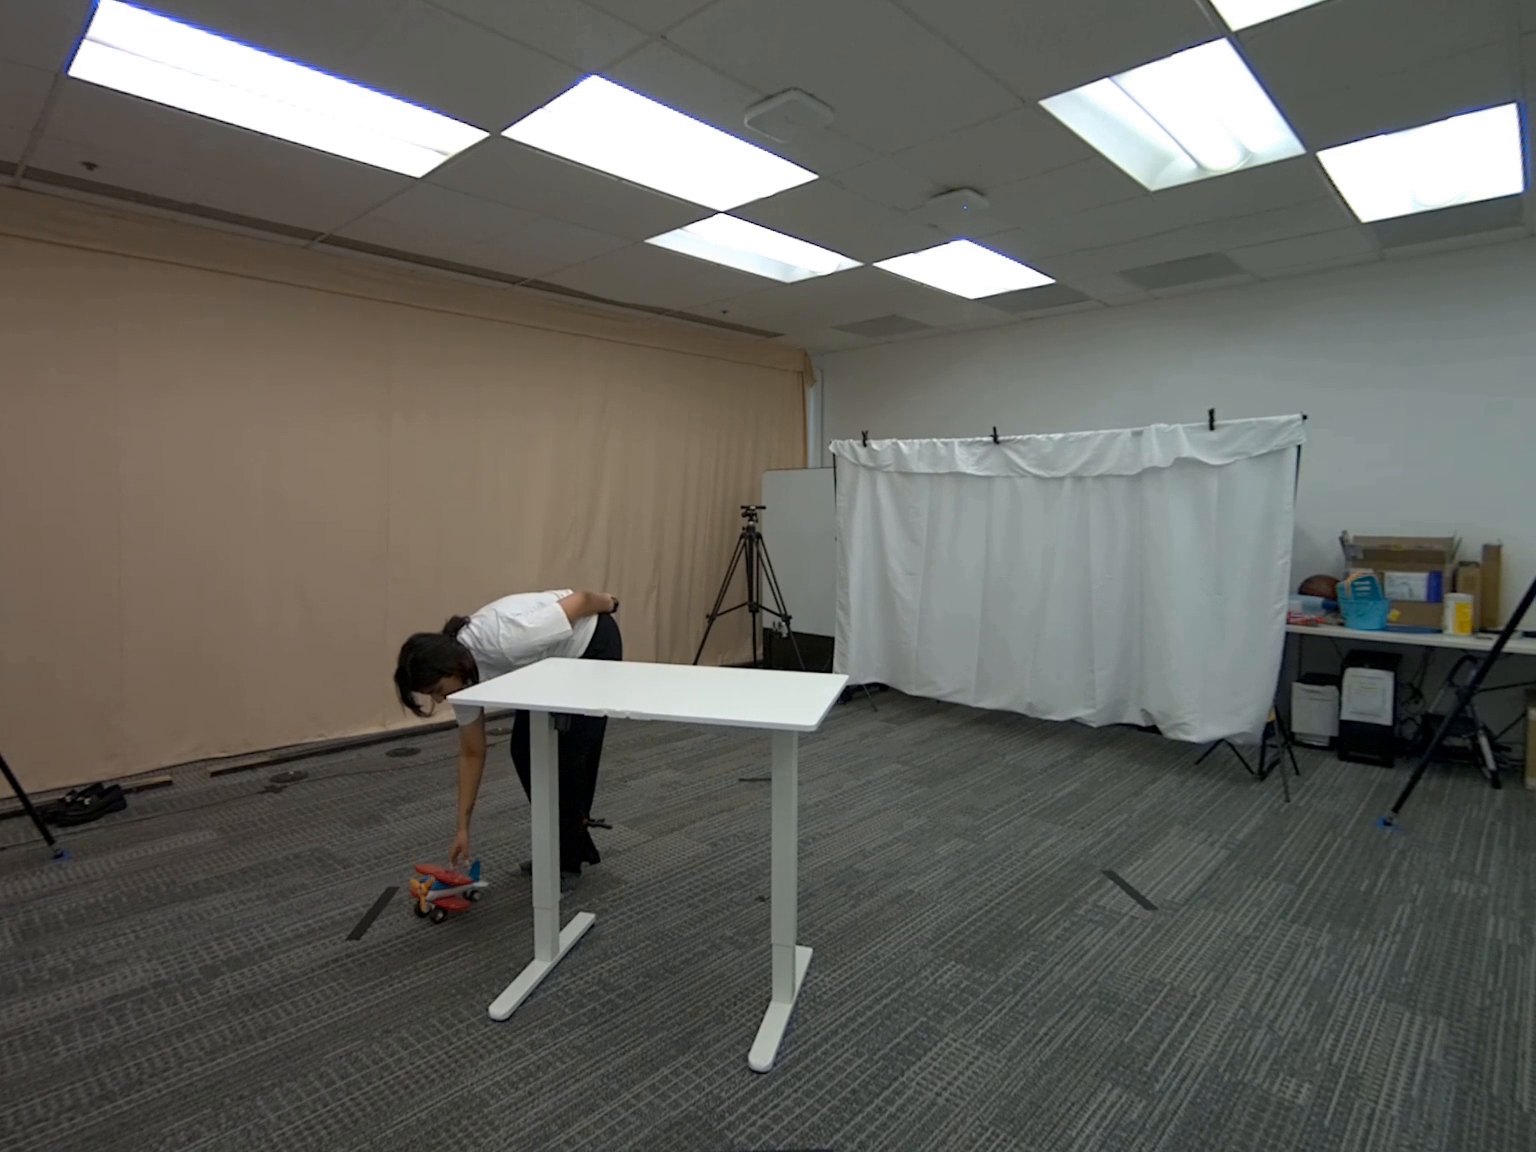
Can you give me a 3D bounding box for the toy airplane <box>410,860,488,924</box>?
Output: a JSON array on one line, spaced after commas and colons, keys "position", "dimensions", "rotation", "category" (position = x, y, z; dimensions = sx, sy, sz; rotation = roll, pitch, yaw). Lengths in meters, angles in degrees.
[{"position": [-1.128, 1.087, 2.921], "dimensions": [0.252, 0.156, 0.258], "rotation": [-1, 5, 4], "category": "toy airplane"}]
